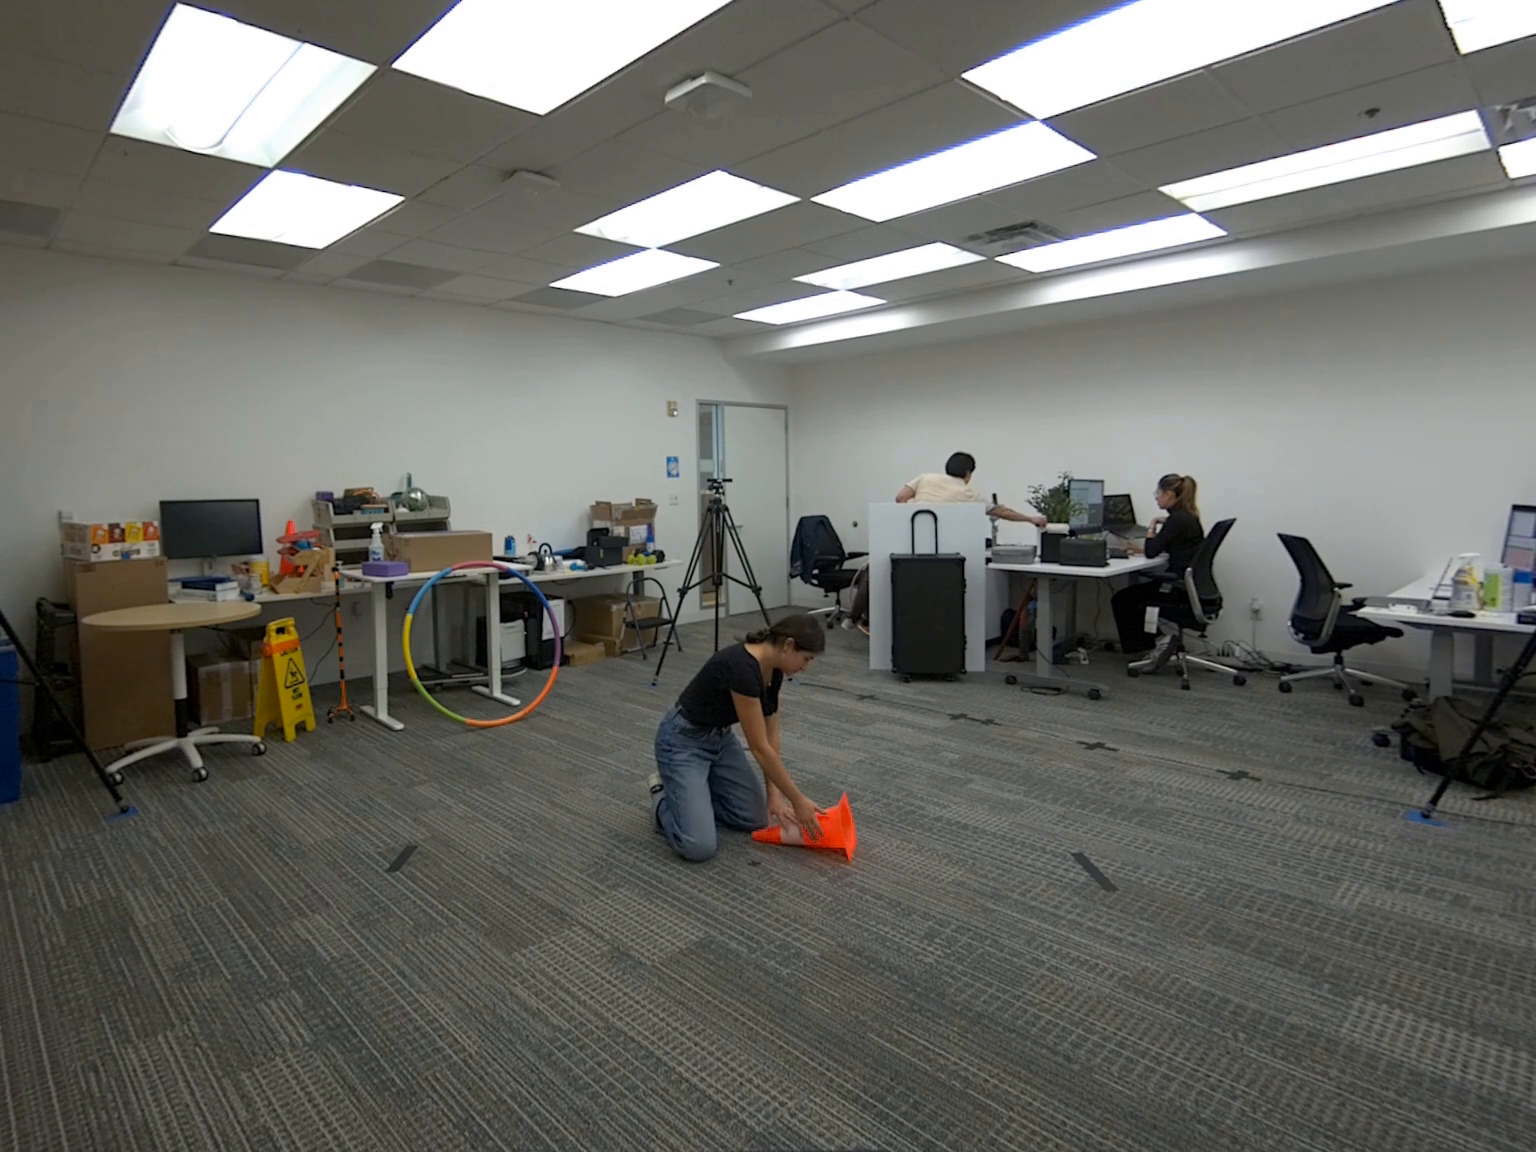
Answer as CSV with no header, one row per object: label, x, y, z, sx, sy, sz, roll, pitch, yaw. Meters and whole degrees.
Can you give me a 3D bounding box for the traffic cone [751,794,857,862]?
traffic cone,0.119,0.966,3.255,0.389,0.203,0.202,-11,1,18
